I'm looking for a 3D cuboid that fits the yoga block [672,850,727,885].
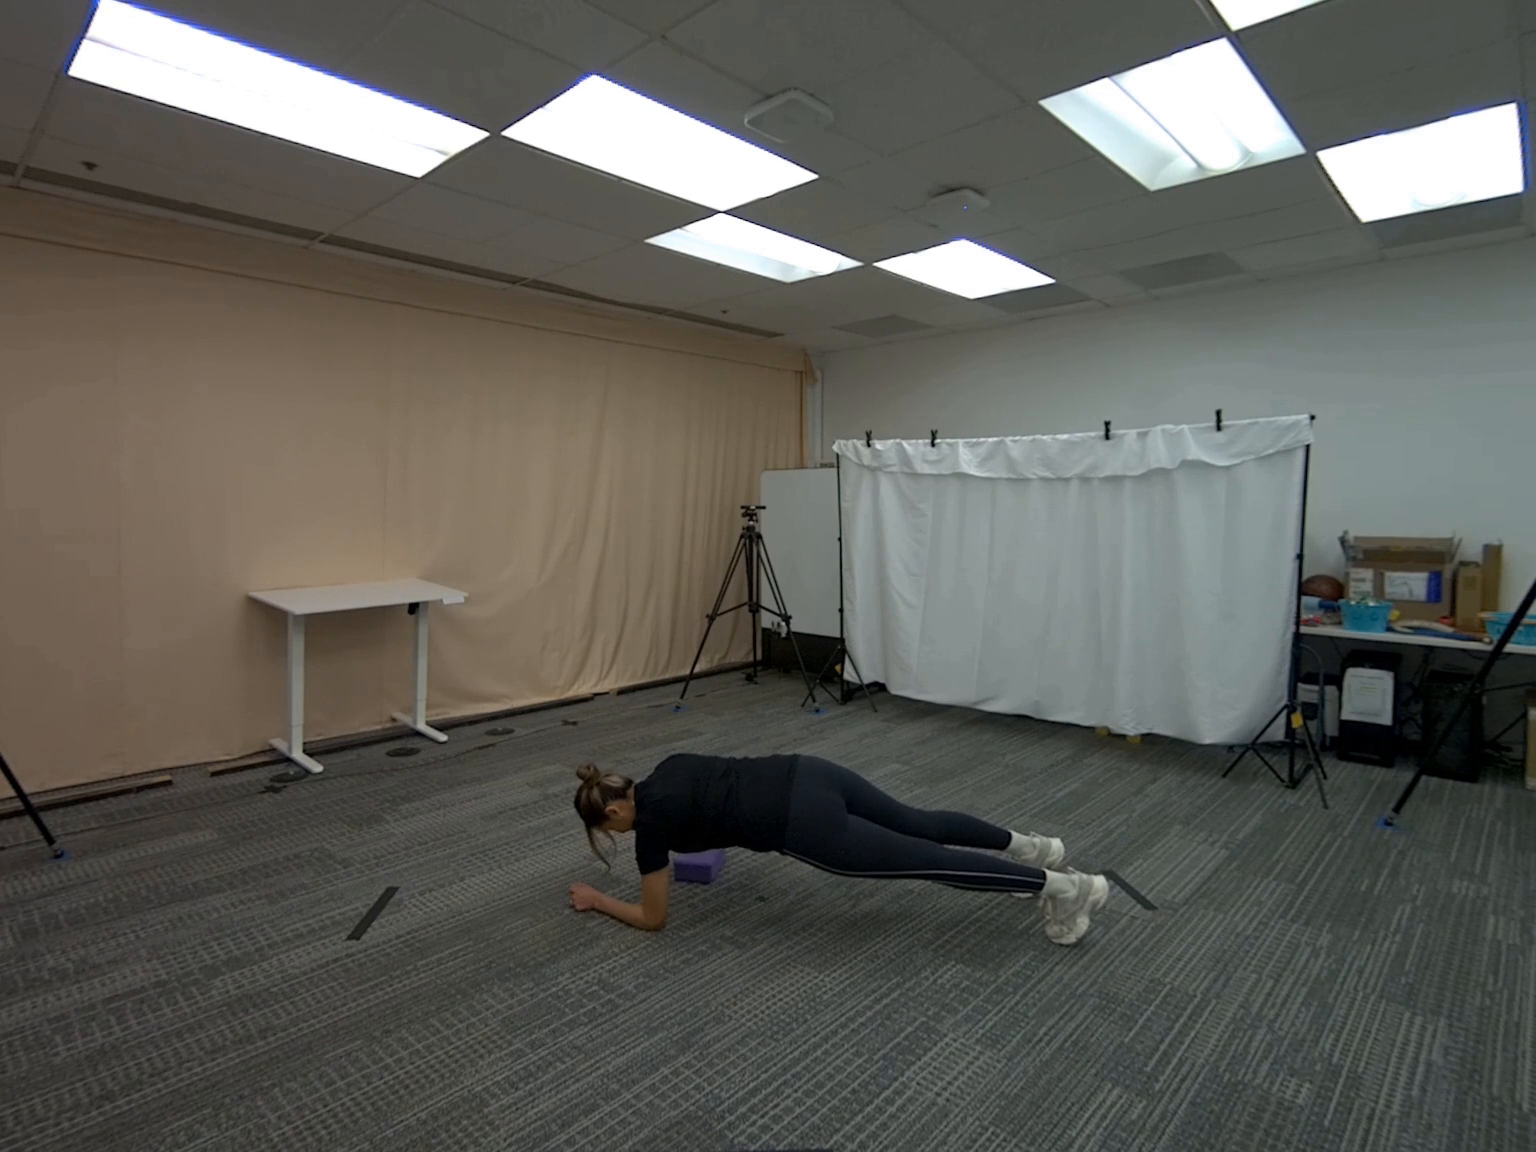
[{"bbox_3d":[-0.259,1.082,3.216,0.151,0.076,0.226,2,3,13],"label":"yoga block"}]
